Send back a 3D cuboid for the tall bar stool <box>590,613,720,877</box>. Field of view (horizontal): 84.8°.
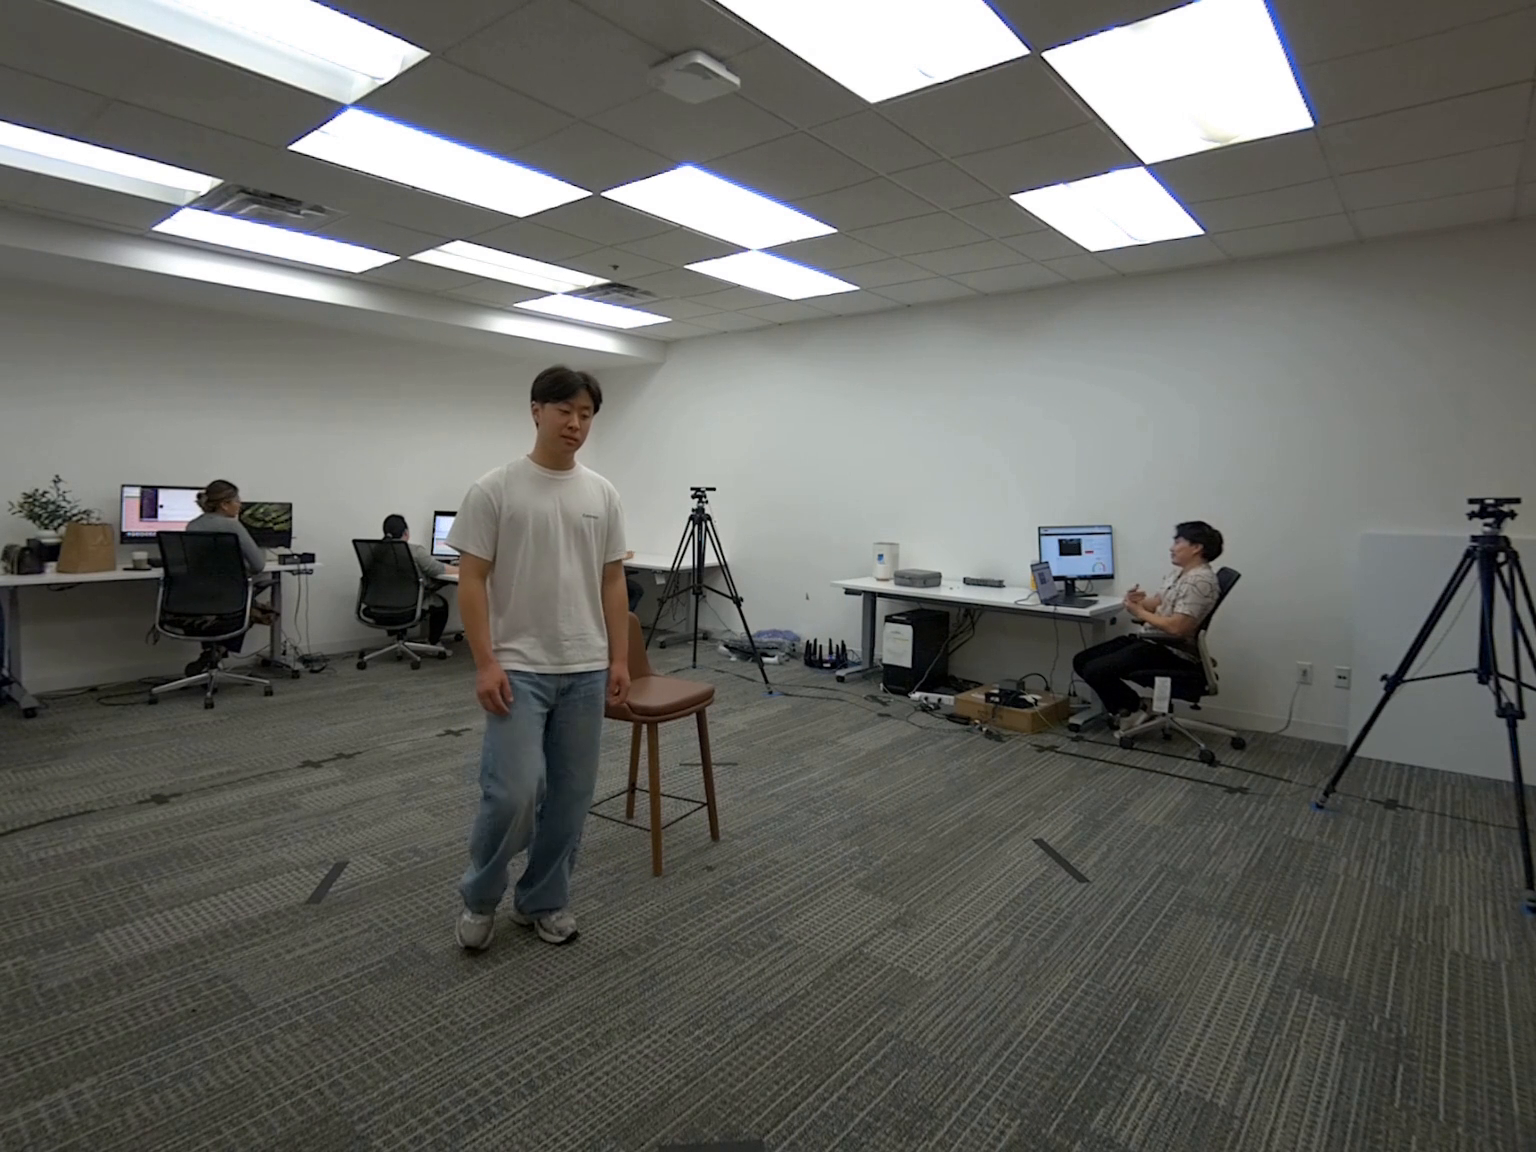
[{"bbox_3d":[-0.490,0.607,3.310,0.481,0.889,0.444,0,2,32],"label":"tall bar stool"}]
